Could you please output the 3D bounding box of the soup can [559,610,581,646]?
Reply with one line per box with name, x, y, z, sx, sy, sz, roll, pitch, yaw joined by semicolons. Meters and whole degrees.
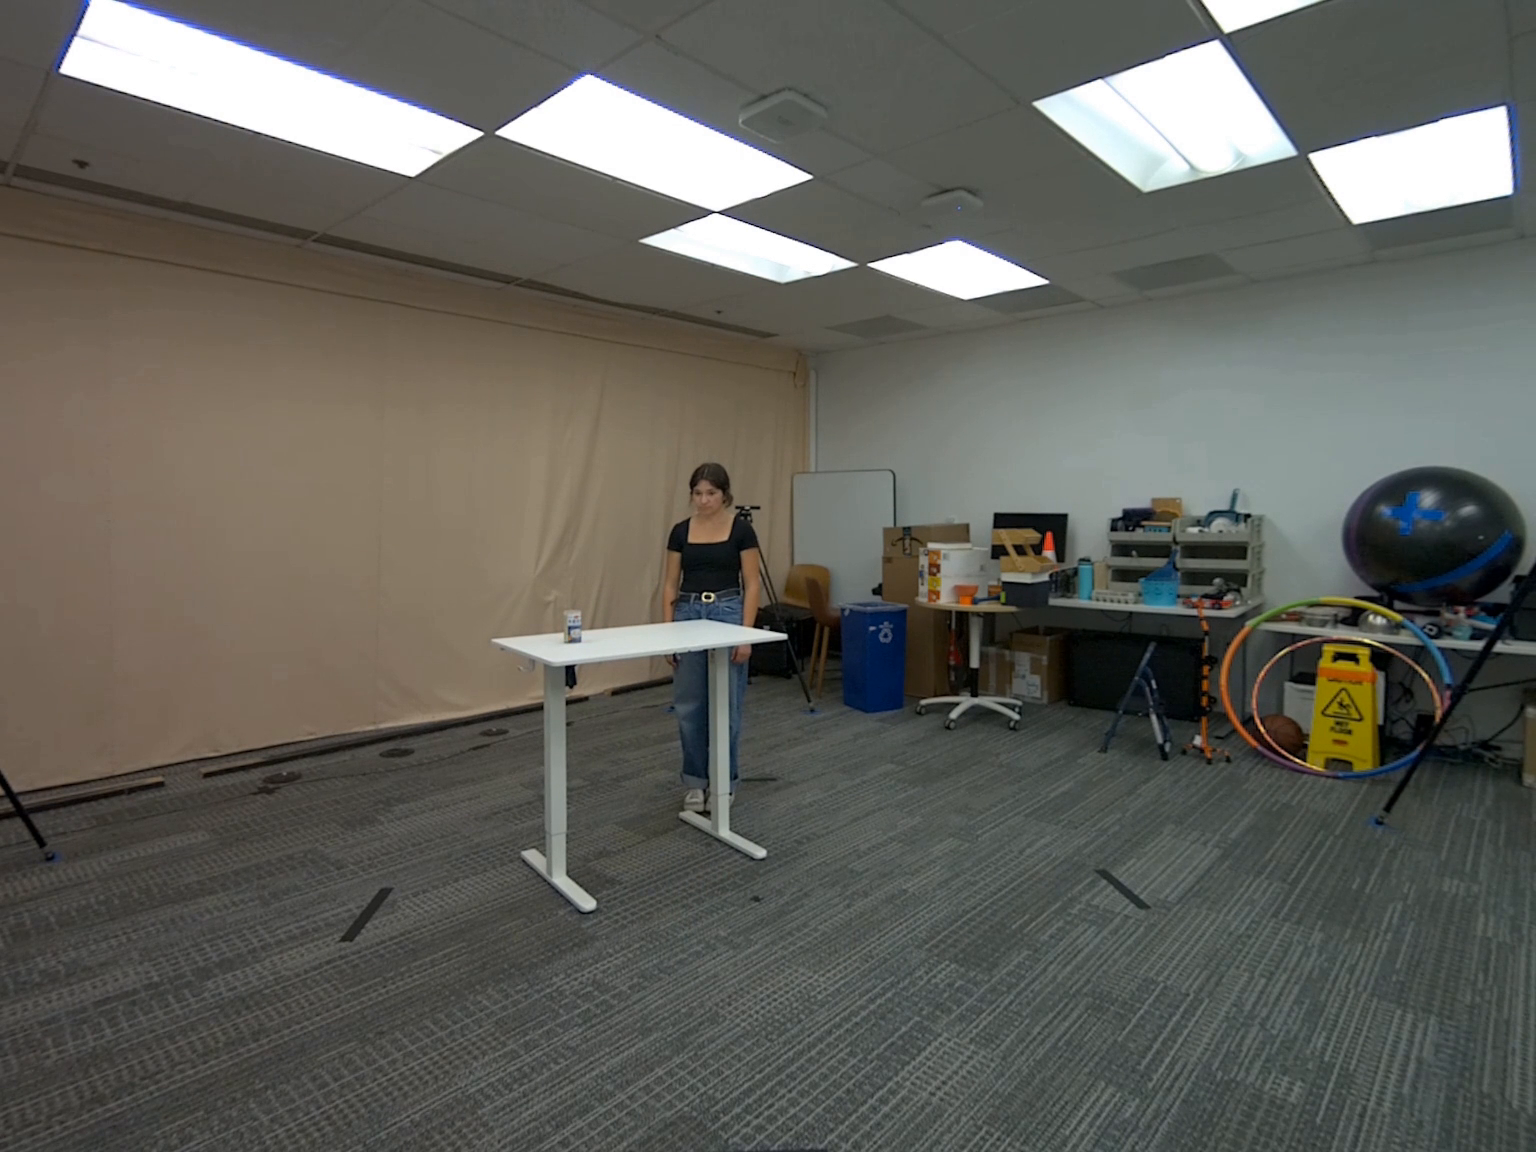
soup can;-0.743;0.194;3.170;0.067;0.121;0.067;1;3;-2
